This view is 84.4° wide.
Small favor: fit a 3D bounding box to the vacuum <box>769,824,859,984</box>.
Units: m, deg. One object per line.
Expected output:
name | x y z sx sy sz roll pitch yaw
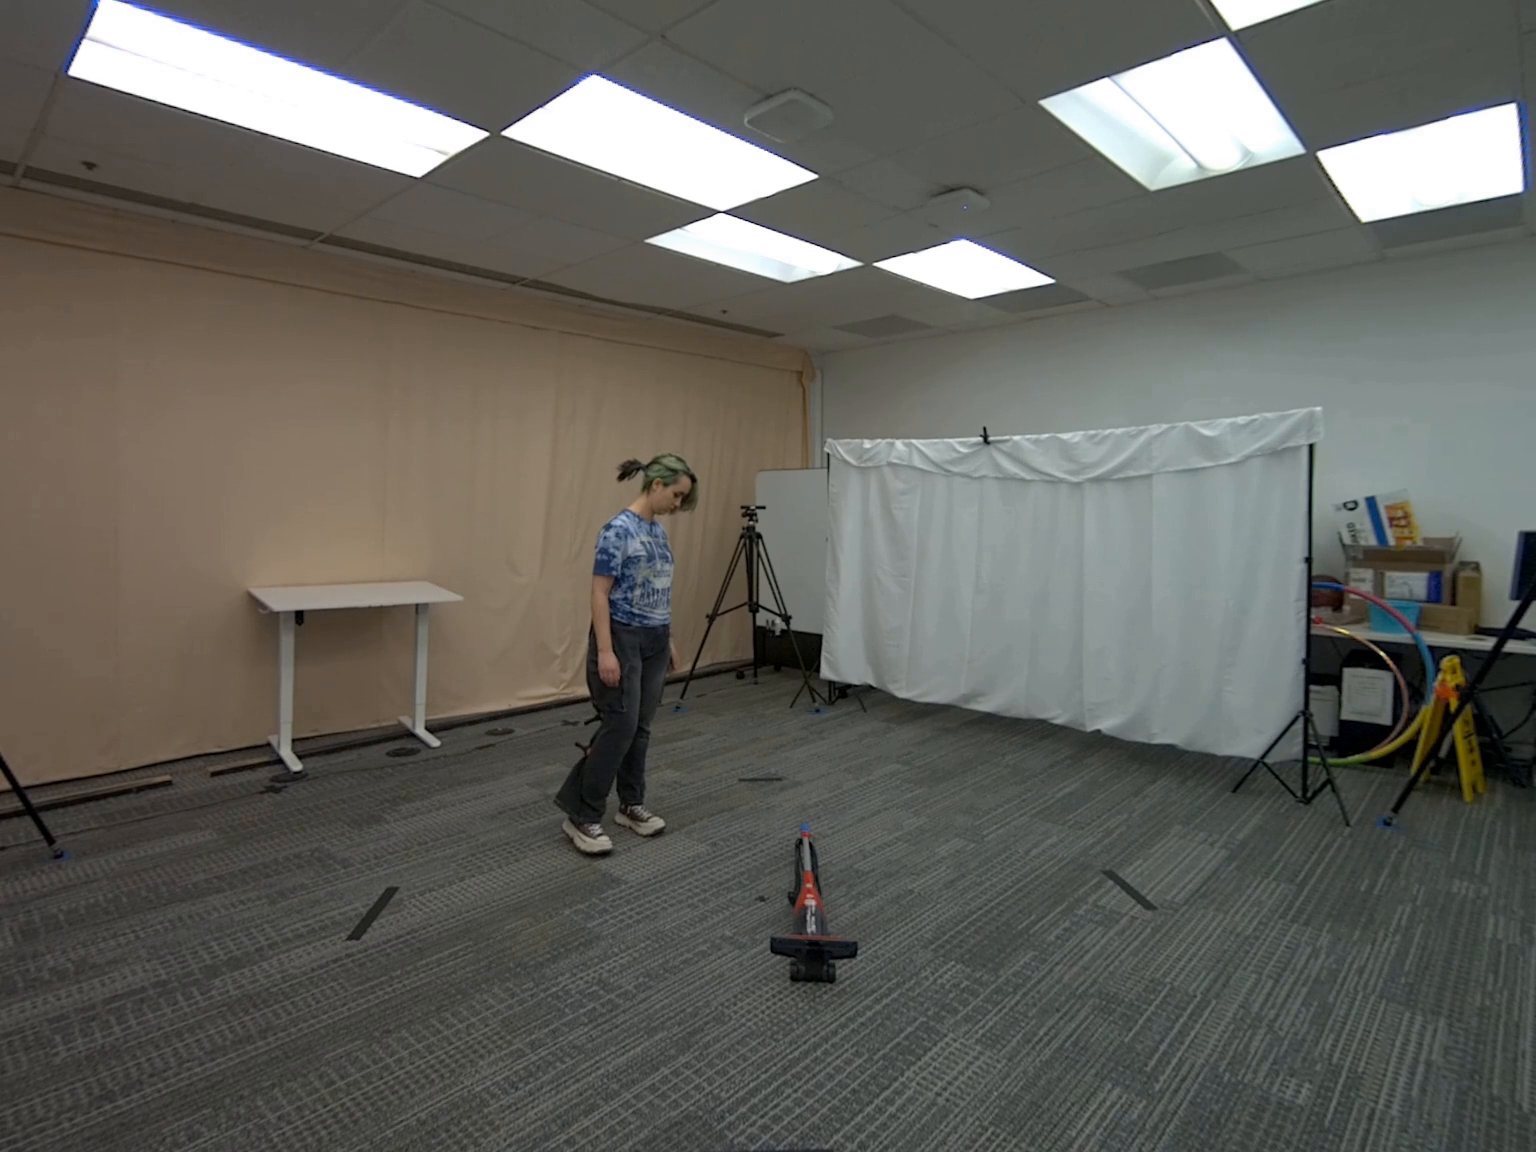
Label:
vacuum | 0.135 1.079 2.960 0.253 0.144 1.049 0 3 0
